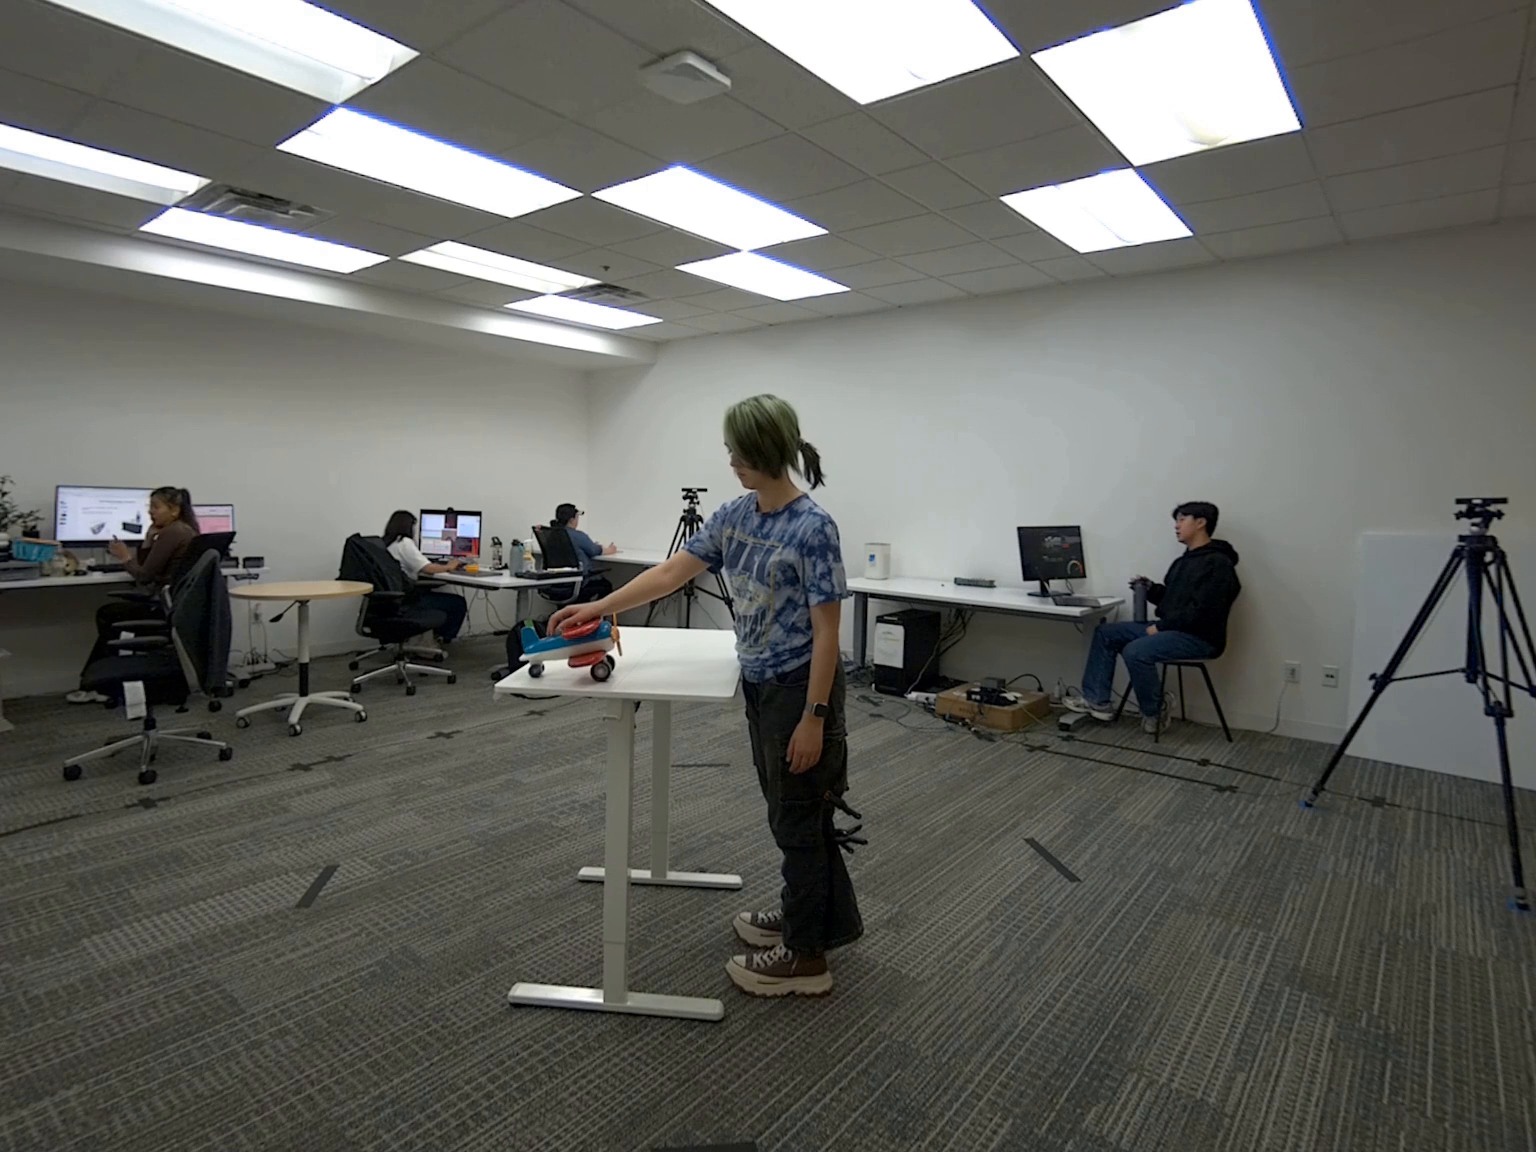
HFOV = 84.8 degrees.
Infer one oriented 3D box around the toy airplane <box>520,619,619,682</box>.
[{"bbox_3d":[-0.520,0.193,2.232,0.252,0.156,0.259,-1,5,-30],"label":"toy airplane"}]
